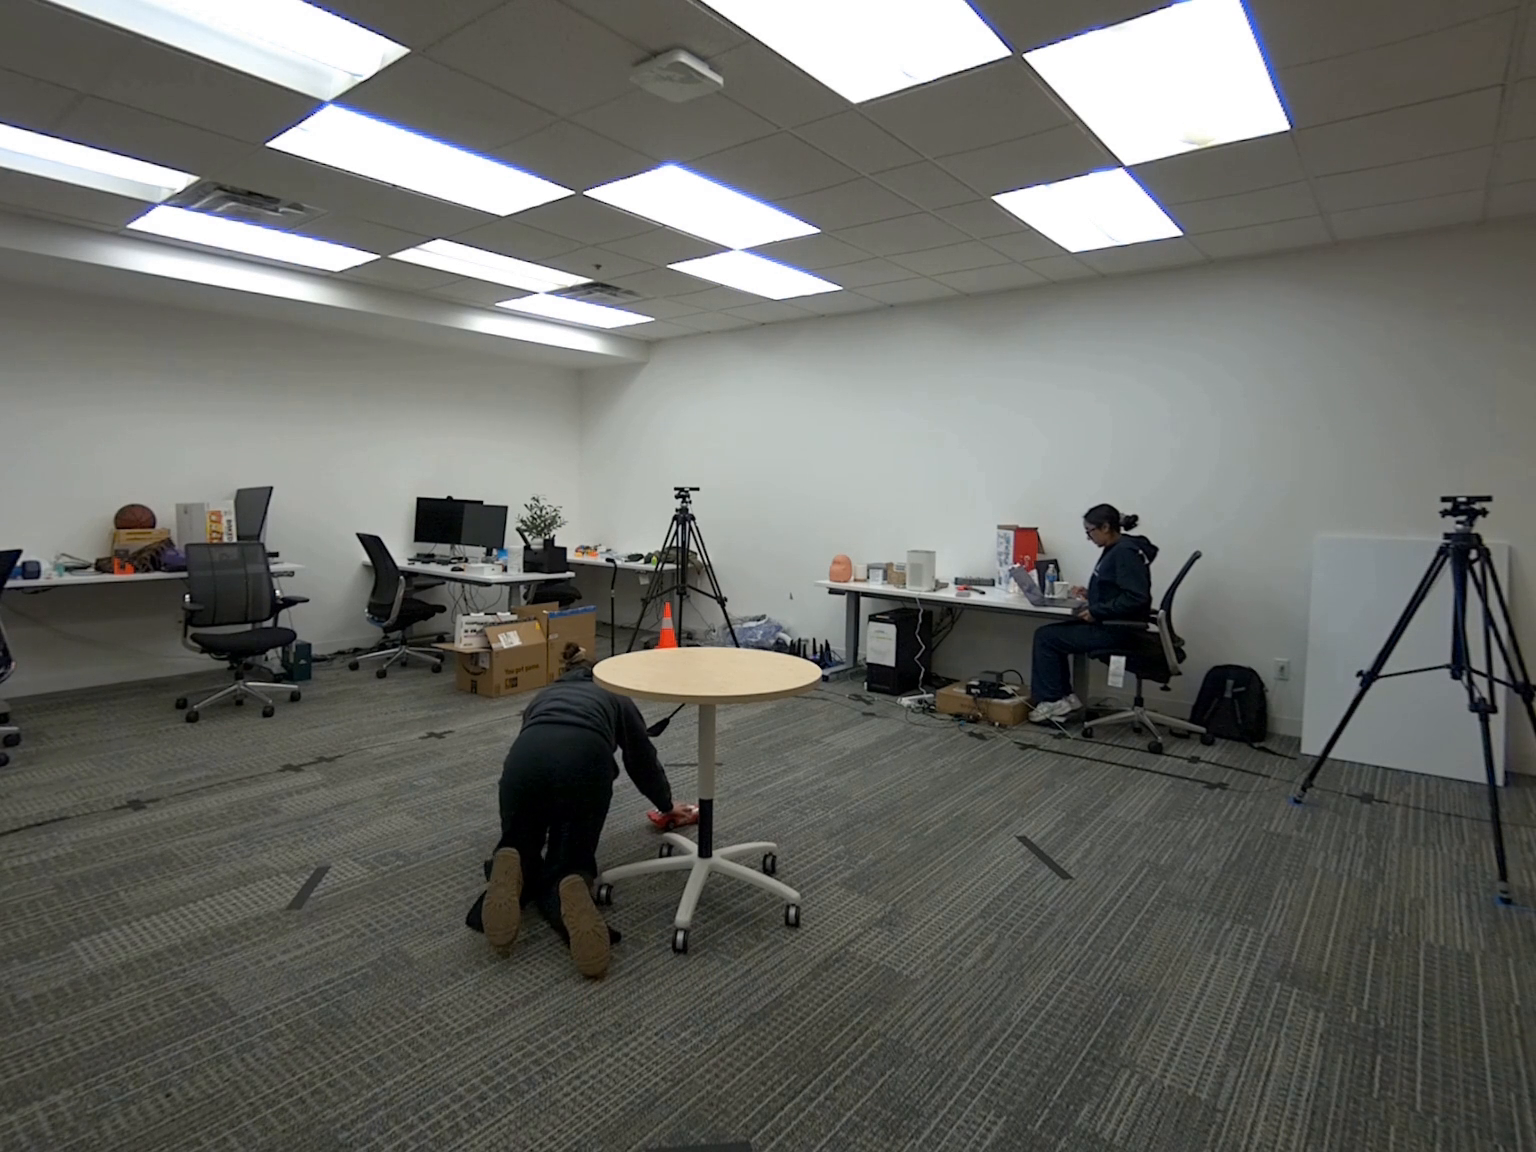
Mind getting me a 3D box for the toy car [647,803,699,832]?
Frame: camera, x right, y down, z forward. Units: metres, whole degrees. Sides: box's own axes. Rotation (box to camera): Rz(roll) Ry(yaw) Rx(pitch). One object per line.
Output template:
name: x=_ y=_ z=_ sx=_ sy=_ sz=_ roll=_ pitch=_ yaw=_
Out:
toy car: x=-0.379 y=0.989 z=3.522 sx=0.246 sy=0.083 sz=0.134 roll=12 pitch=-1 yaw=-31
